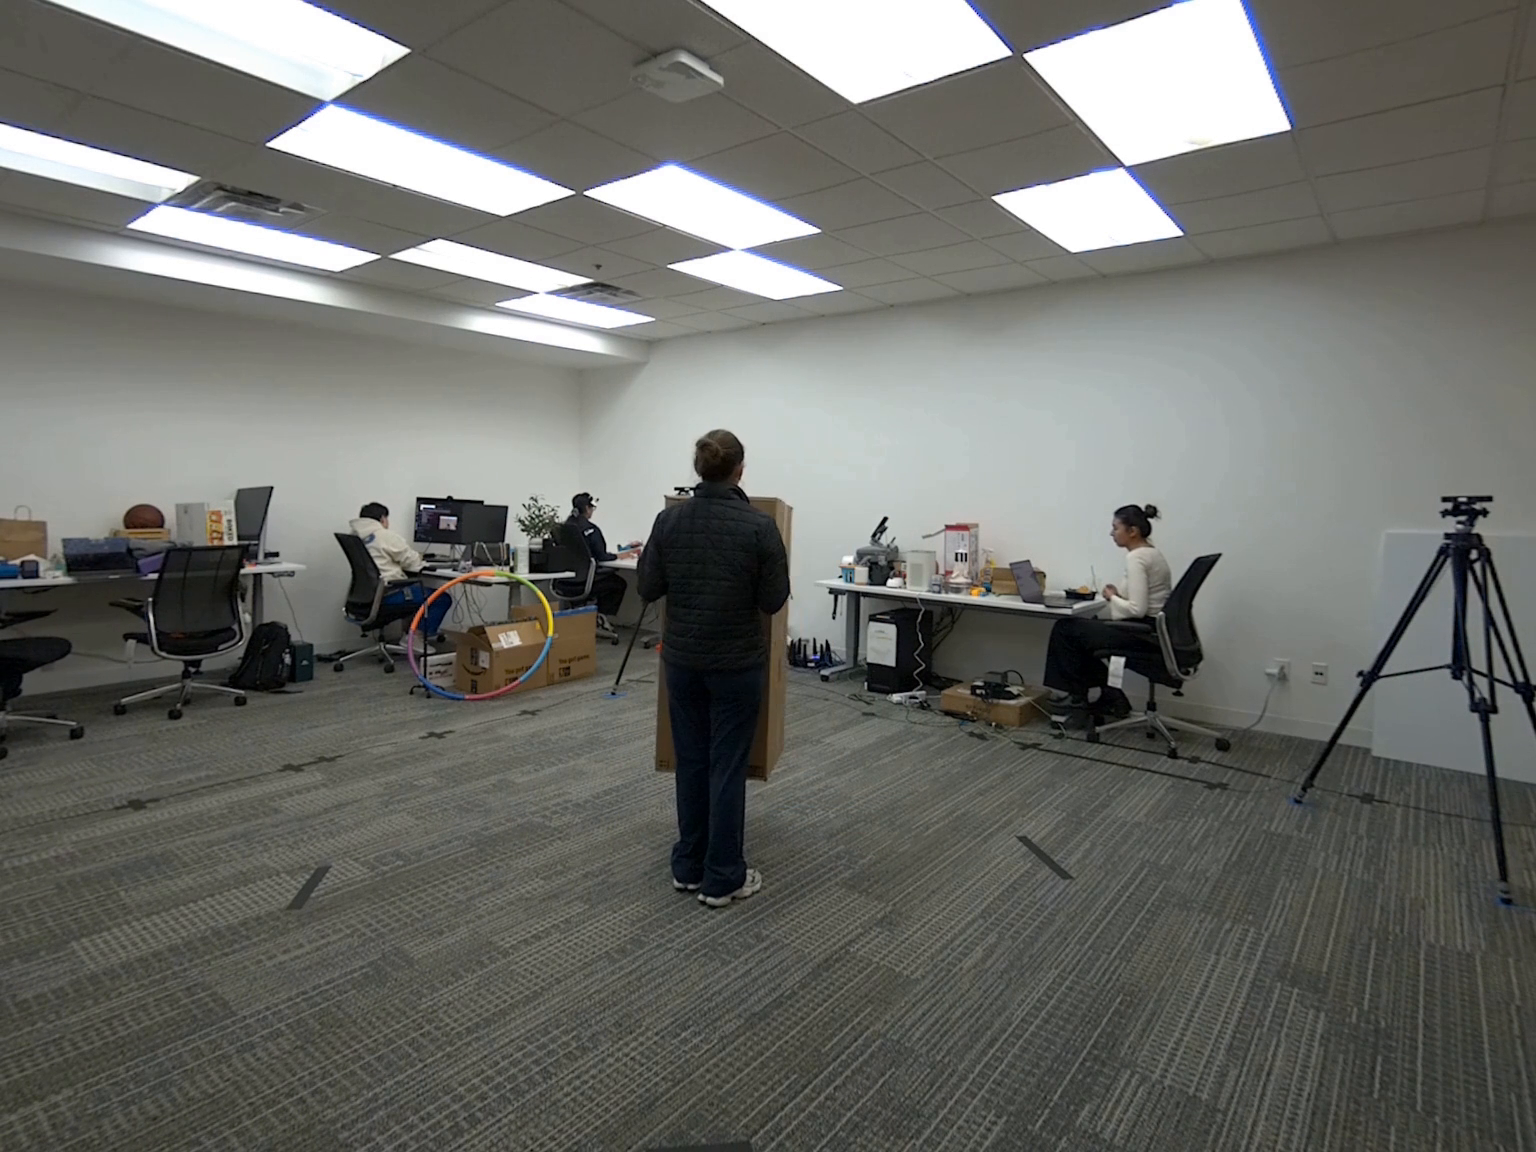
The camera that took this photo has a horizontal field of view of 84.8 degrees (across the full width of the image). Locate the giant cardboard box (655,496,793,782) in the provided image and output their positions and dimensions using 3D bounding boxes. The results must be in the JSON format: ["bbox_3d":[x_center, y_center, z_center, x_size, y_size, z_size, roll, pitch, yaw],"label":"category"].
[{"bbox_3d":[-0.132,0.212,3.391,0.431,1.027,0.570,2,-1,10],"label":"giant cardboard box"}]
